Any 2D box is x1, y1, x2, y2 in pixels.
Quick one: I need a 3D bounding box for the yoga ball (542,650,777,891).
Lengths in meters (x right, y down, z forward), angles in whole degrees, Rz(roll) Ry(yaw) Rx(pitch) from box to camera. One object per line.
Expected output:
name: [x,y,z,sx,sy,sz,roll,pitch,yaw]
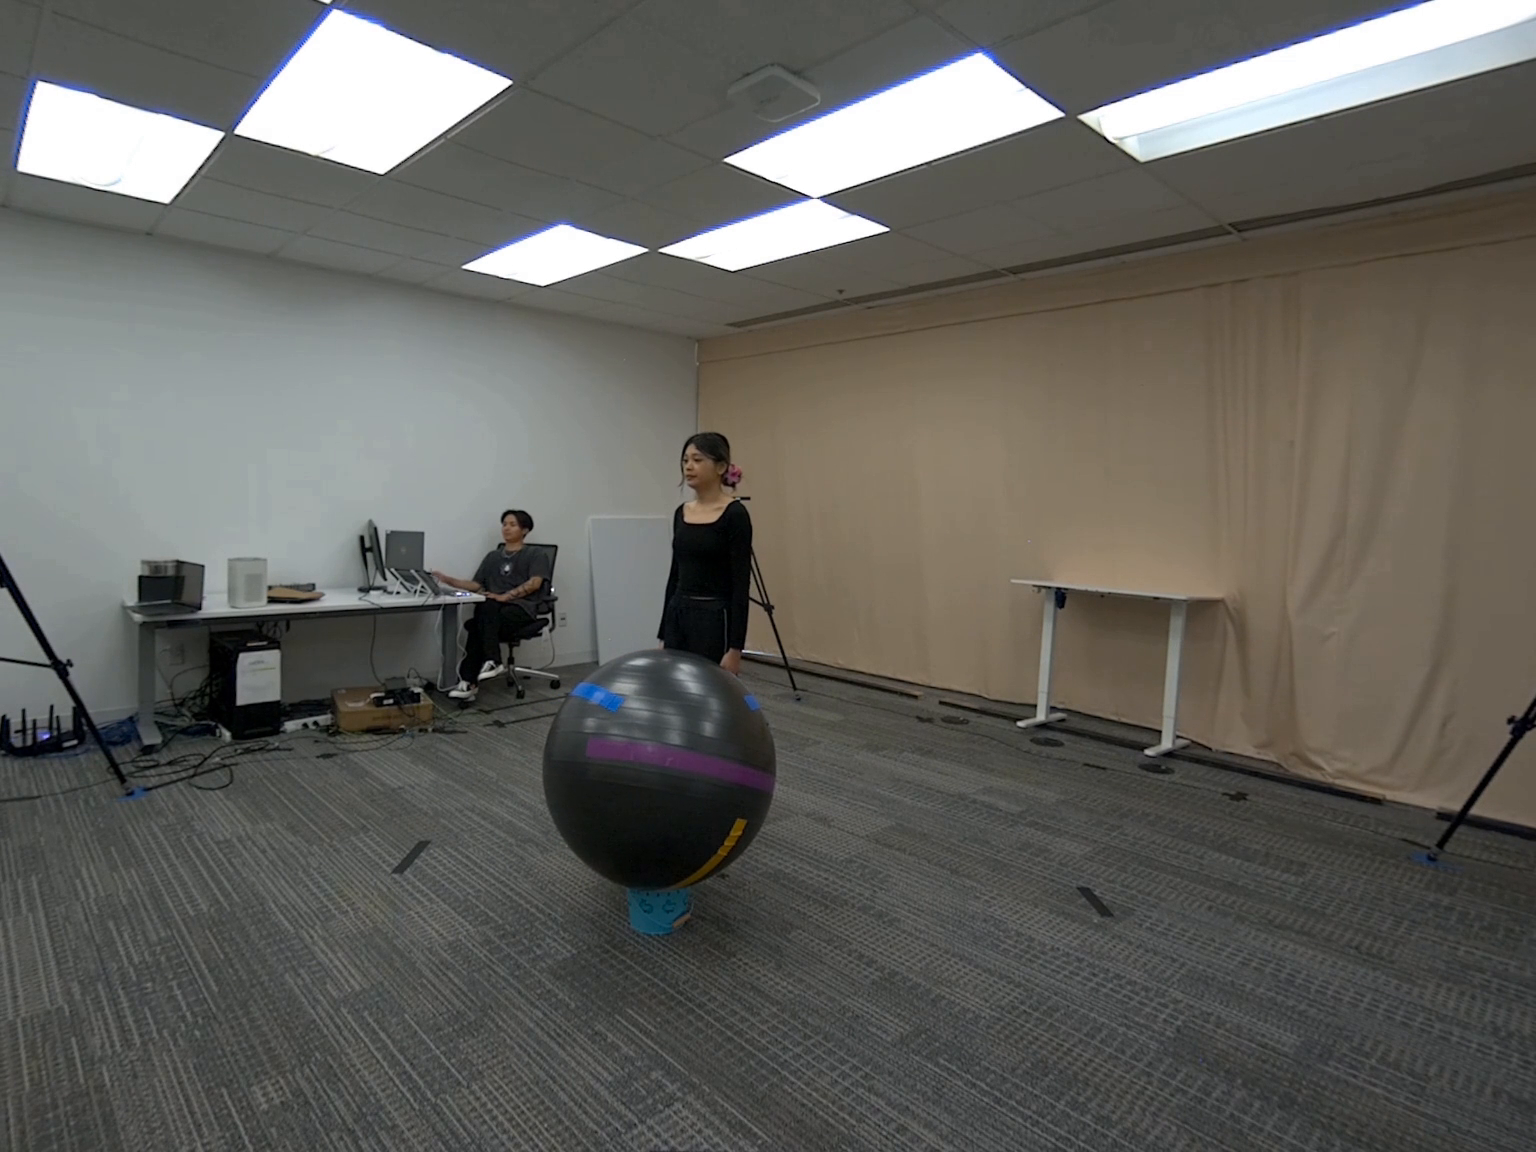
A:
yoga ball: [-0.359,0.623,2.747,0.757,0.756,0.761,1,4,-1]
